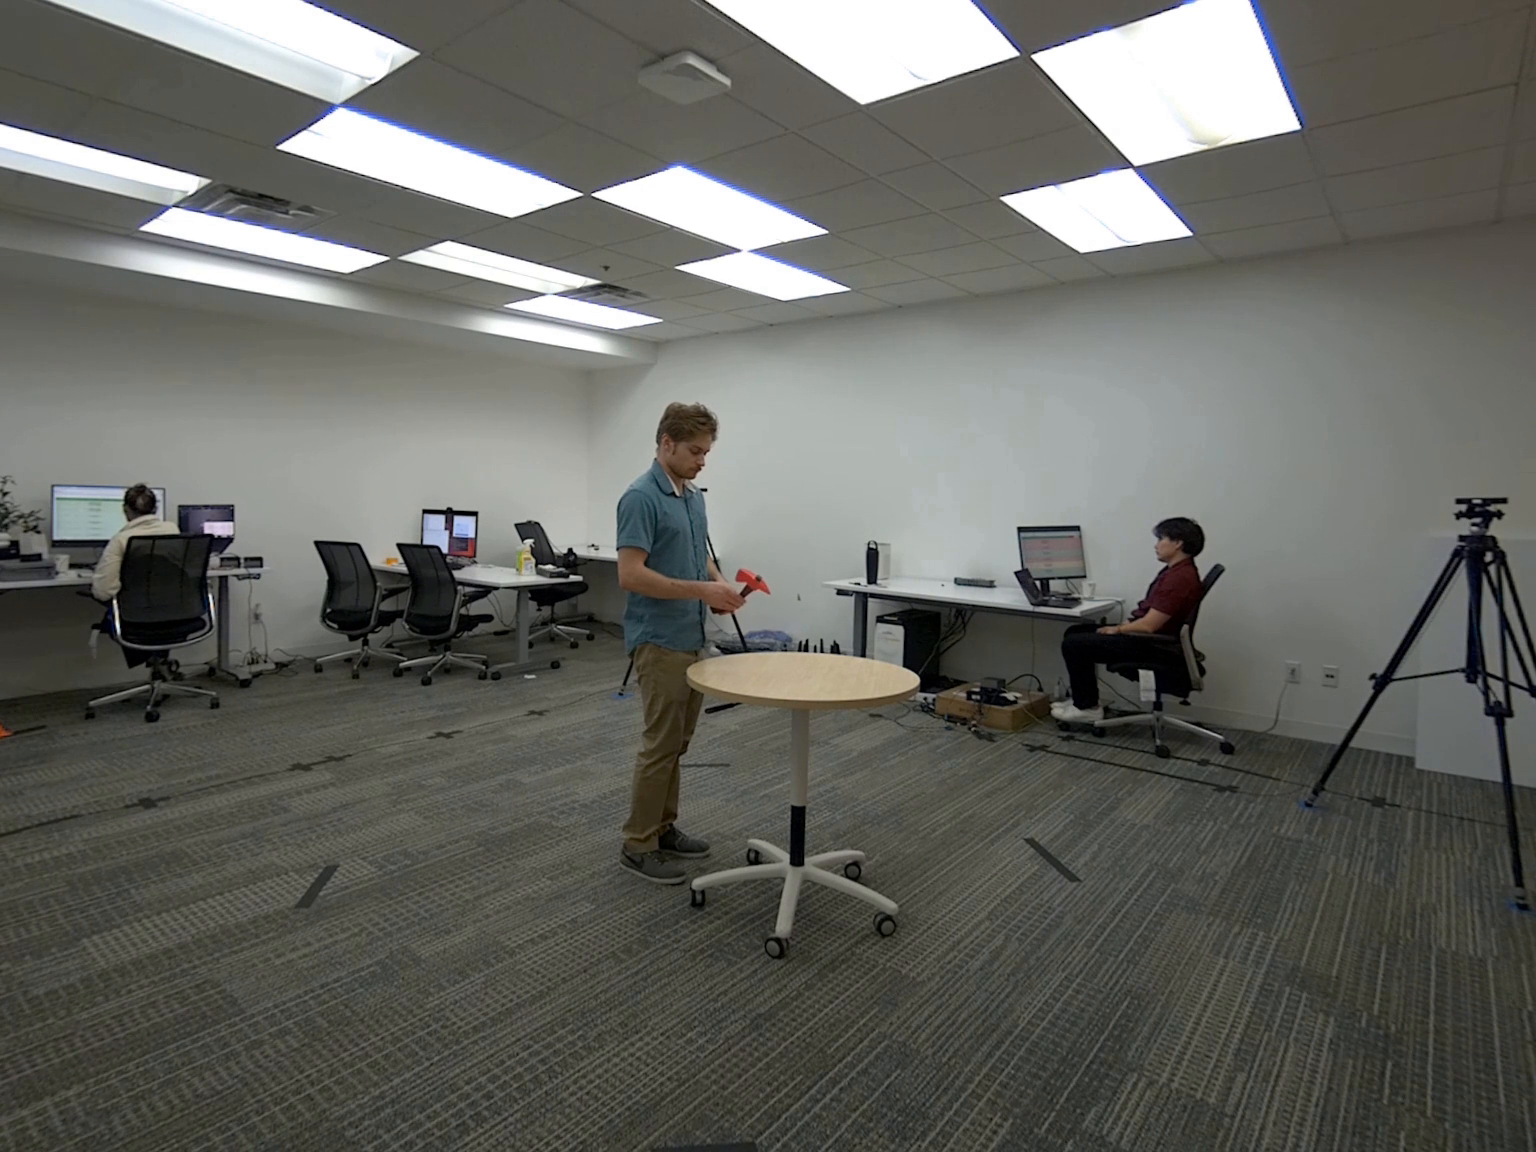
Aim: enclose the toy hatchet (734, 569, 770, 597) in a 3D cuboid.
[{"bbox_3d":[-0.136,0.053,2.972,0.274,0.128,0.030,-22,23,33],"label":"toy hatchet"}]
